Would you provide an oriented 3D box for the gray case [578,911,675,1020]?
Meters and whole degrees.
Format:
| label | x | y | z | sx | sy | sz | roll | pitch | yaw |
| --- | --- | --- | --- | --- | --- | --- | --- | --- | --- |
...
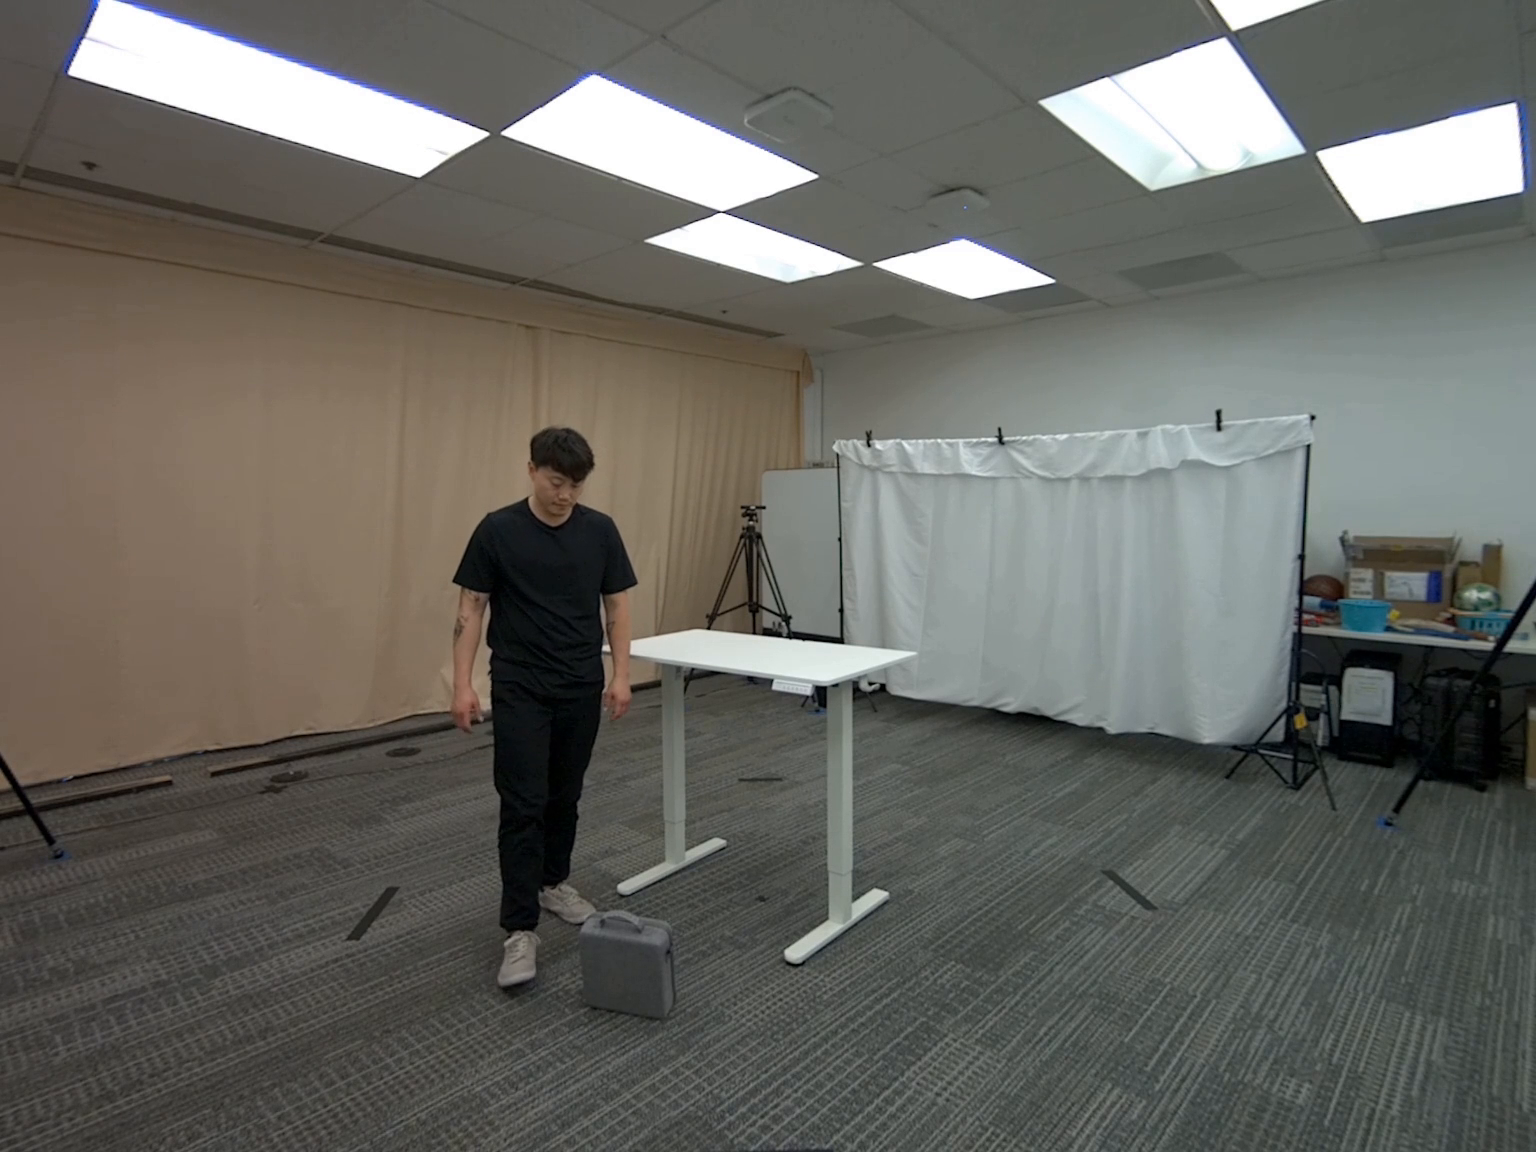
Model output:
| label | x | y | z | sx | sy | sz | roll | pitch | yaw |
| --- | --- | --- | --- | --- | --- | --- | --- | --- | --- |
| gray case | -0.386 | 1.064 | 2.325 | 0.261 | 0.258 | 0.103 | 0 | 12 | 17 |
